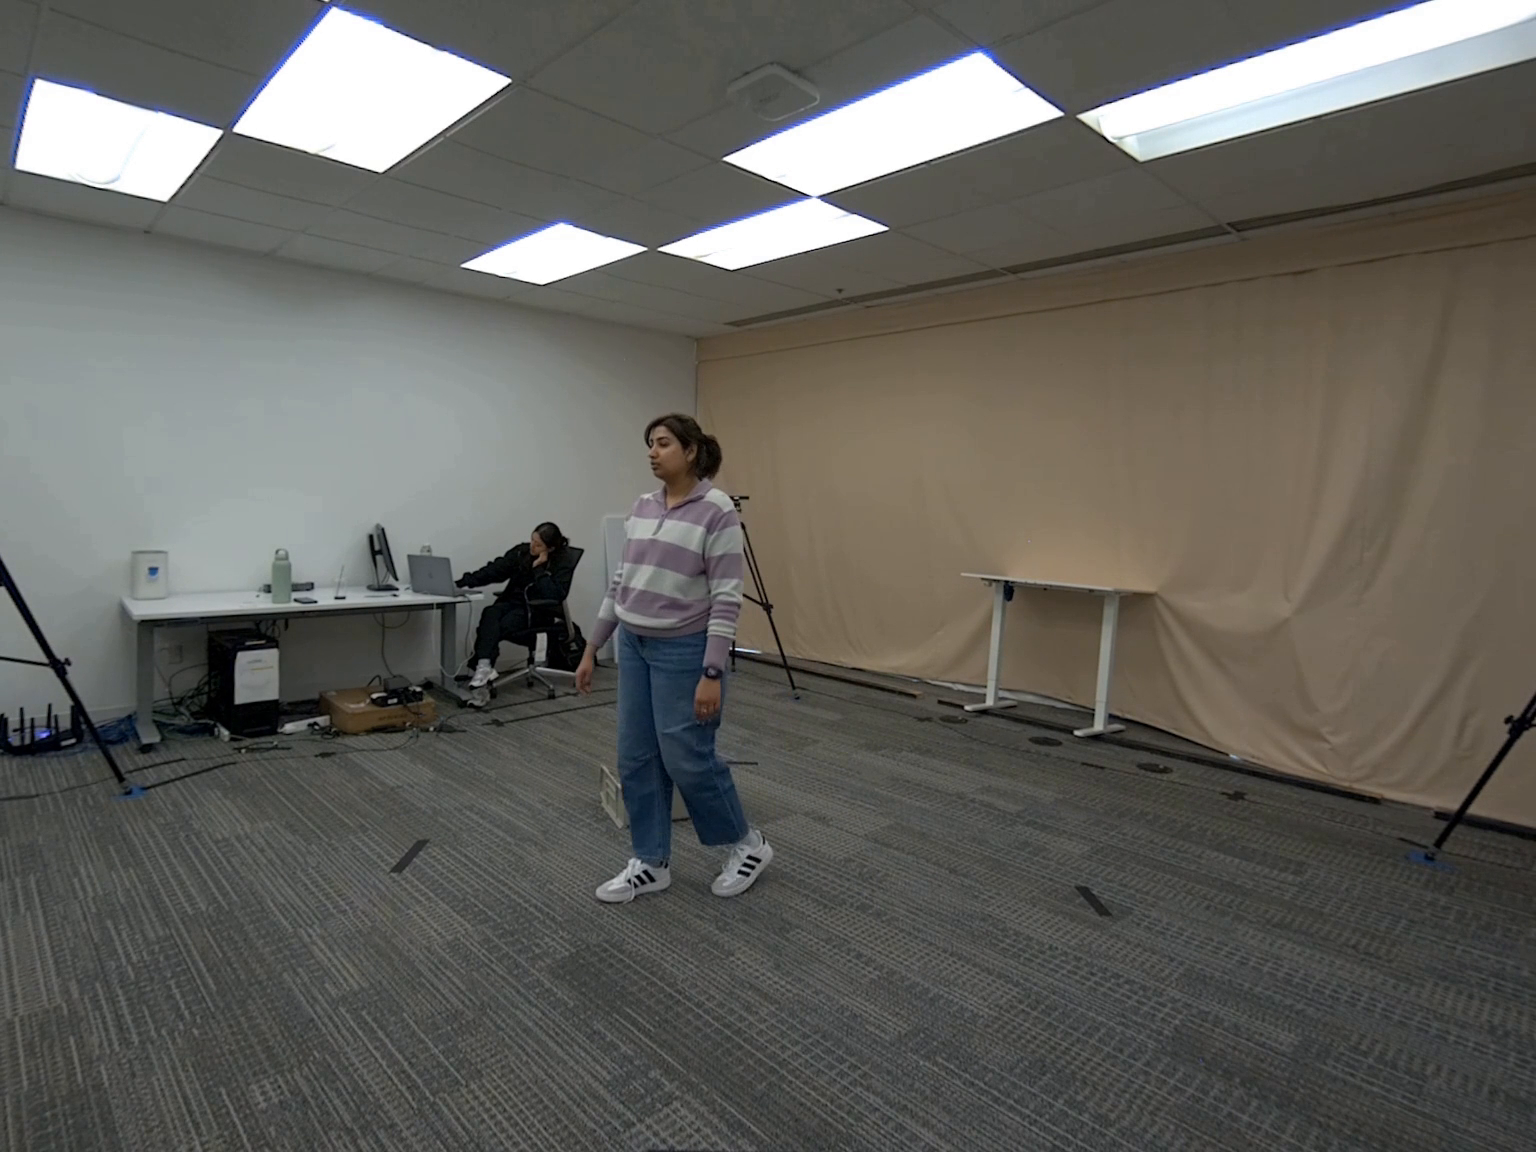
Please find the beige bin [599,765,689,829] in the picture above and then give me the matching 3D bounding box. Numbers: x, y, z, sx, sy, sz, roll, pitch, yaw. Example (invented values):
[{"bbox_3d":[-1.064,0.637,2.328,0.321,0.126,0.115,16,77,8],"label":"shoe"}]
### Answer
[{"bbox_3d":[-0.513,0.954,3.749,0.415,0.188,0.385,-1,6,-25],"label":"beige bin"}]
